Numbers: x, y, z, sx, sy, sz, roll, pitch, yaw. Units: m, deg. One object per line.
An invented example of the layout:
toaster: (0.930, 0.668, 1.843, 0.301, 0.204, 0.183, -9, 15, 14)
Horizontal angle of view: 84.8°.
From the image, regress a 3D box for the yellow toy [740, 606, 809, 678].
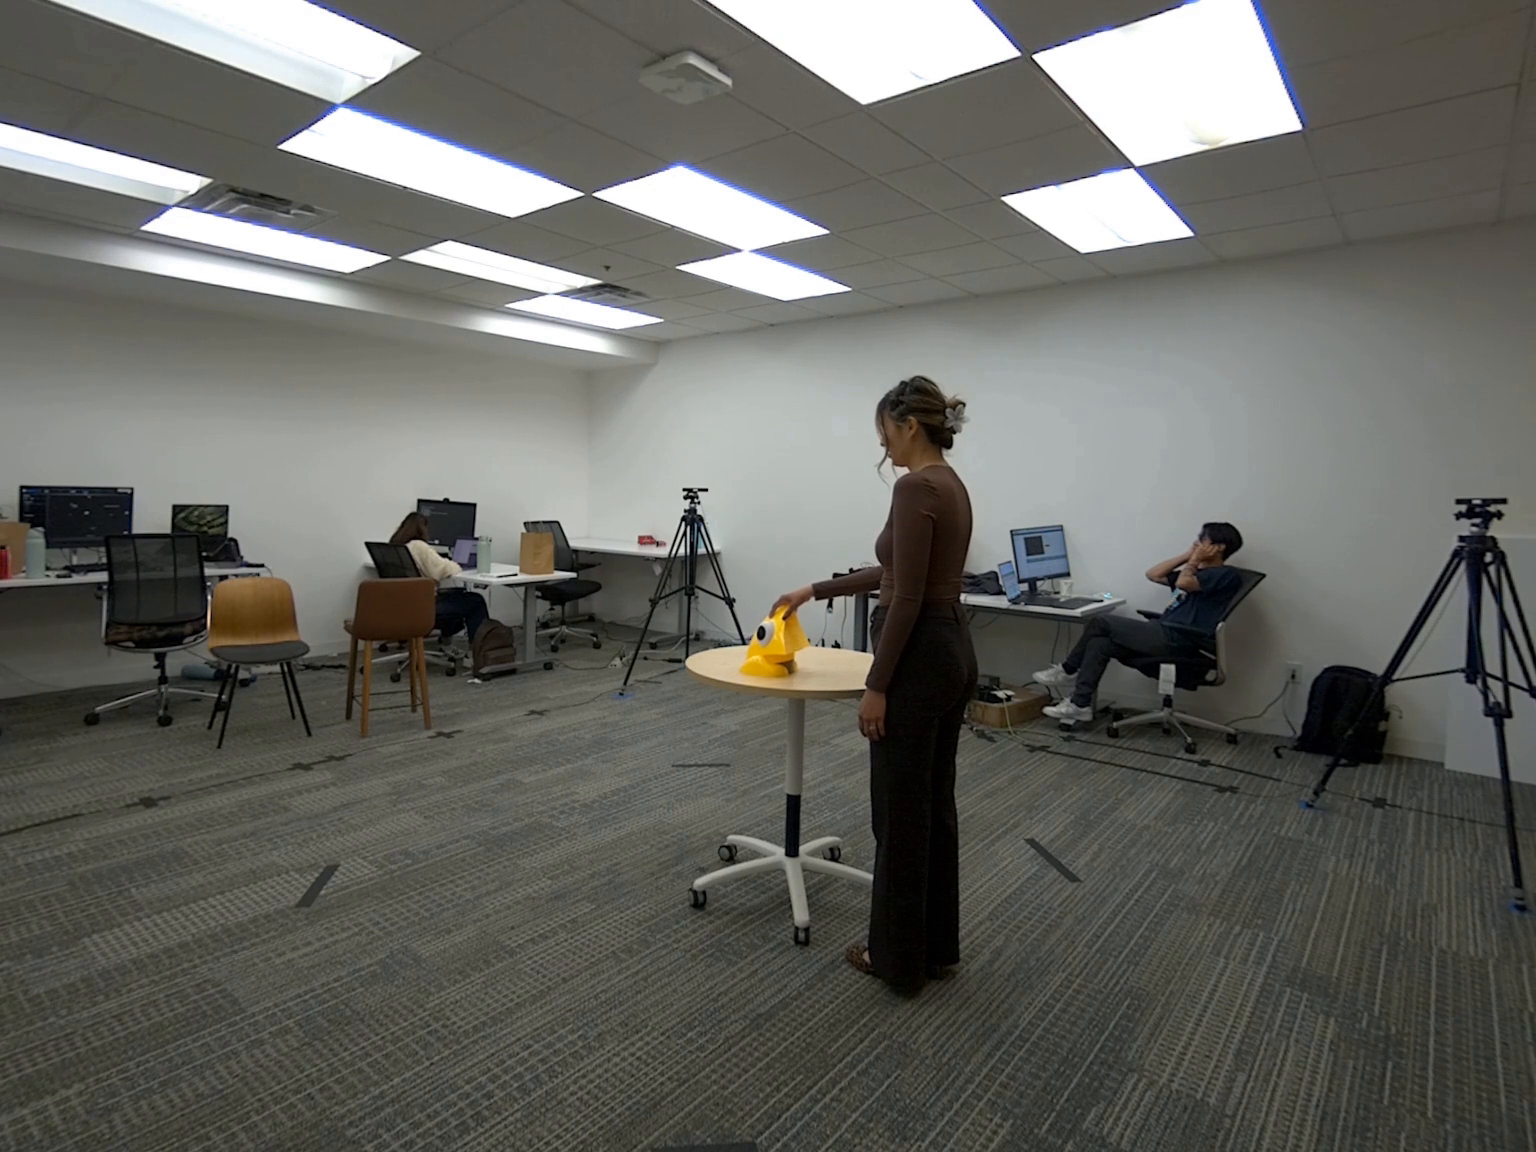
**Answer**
yellow toy: (0.008, 0.194, 2.777, 0.198, 0.230, 0.200, 3, 3, 27)
